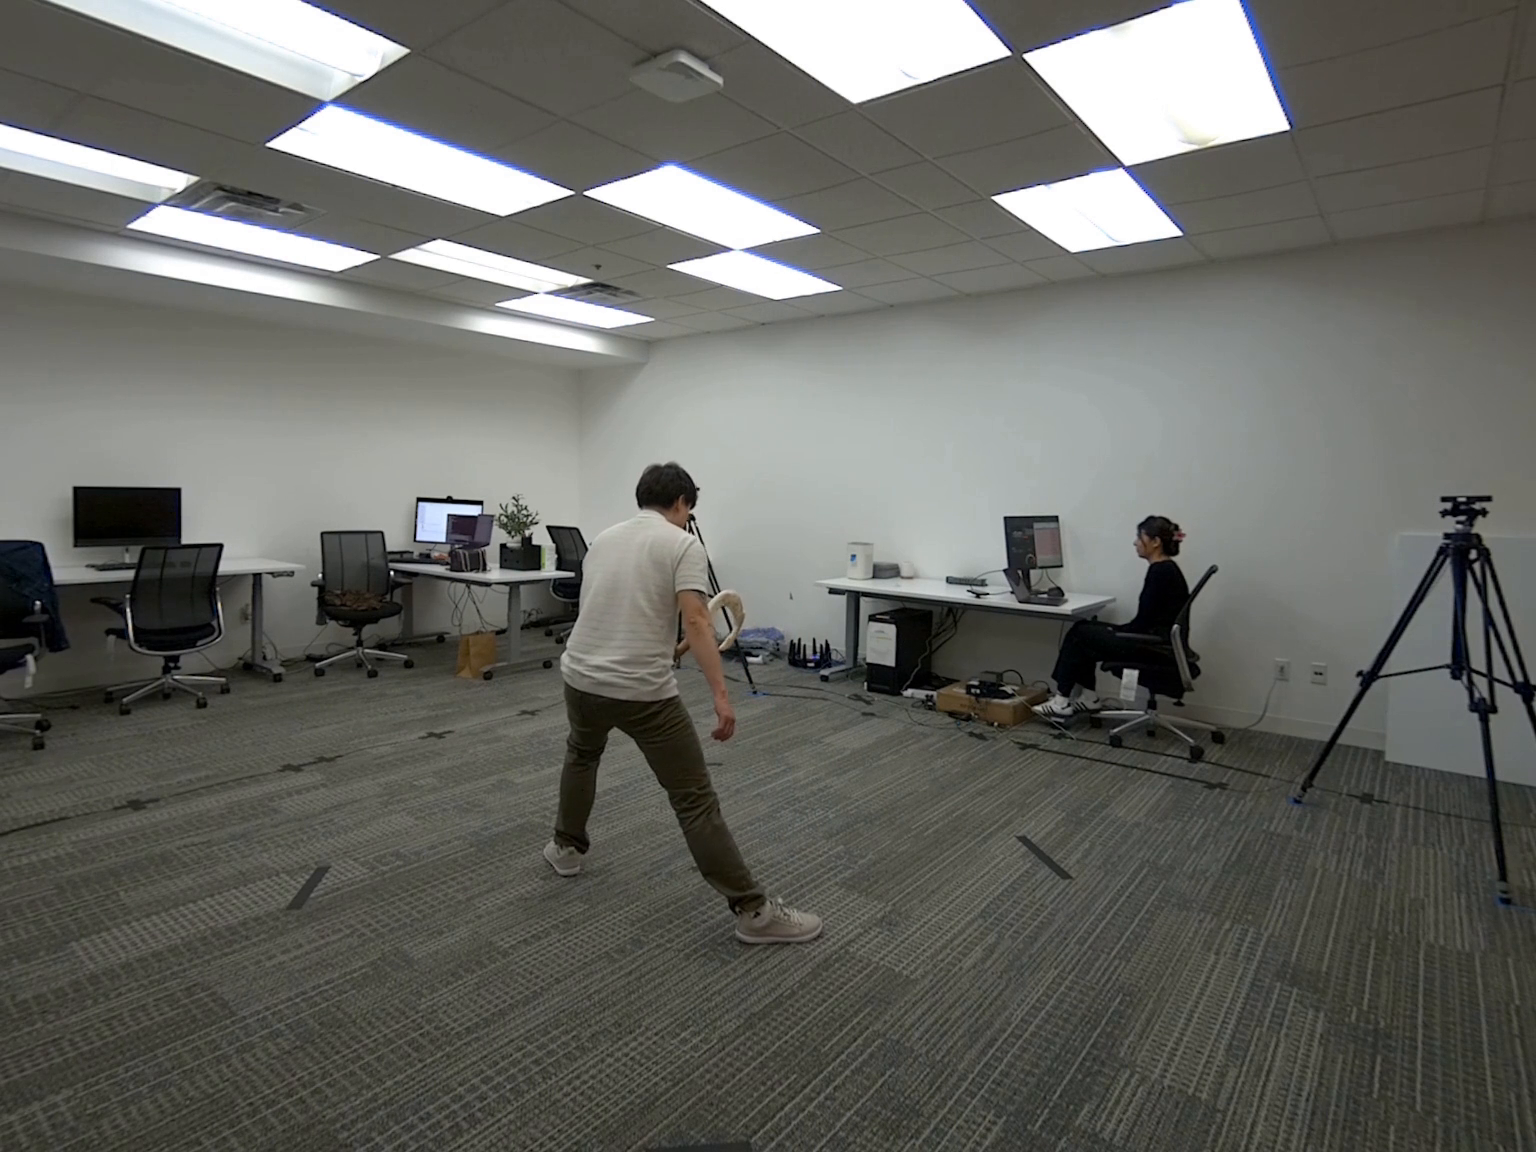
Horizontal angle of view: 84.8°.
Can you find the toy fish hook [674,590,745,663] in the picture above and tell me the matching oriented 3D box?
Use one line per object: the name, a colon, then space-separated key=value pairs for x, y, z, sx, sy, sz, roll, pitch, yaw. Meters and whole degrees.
toy fish hook: x=-0.253 y=0.252 z=3.301 sx=0.050 sy=0.219 sz=0.504 roll=-2 pitch=31 yaw=44
